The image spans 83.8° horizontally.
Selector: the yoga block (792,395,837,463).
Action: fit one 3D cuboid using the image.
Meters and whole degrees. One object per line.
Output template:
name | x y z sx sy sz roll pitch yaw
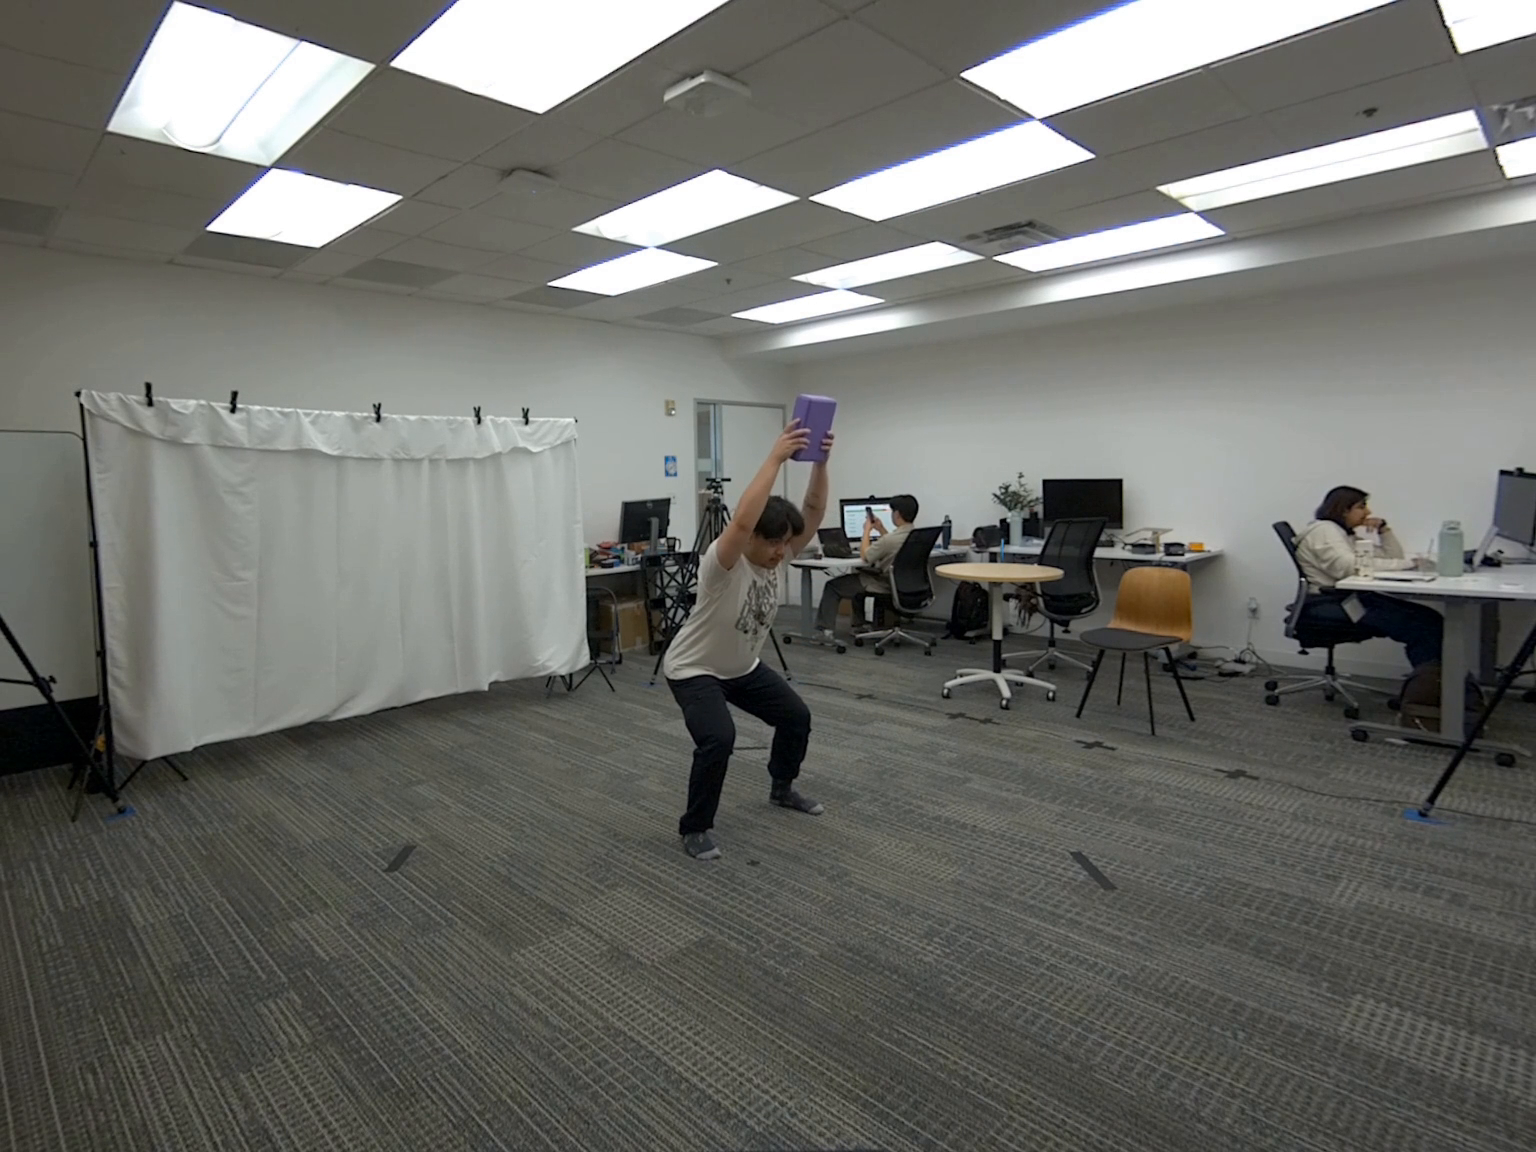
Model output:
yoga block | 0.162 -0.526 3.060 0.145 0.226 0.079 -6 28 -44
